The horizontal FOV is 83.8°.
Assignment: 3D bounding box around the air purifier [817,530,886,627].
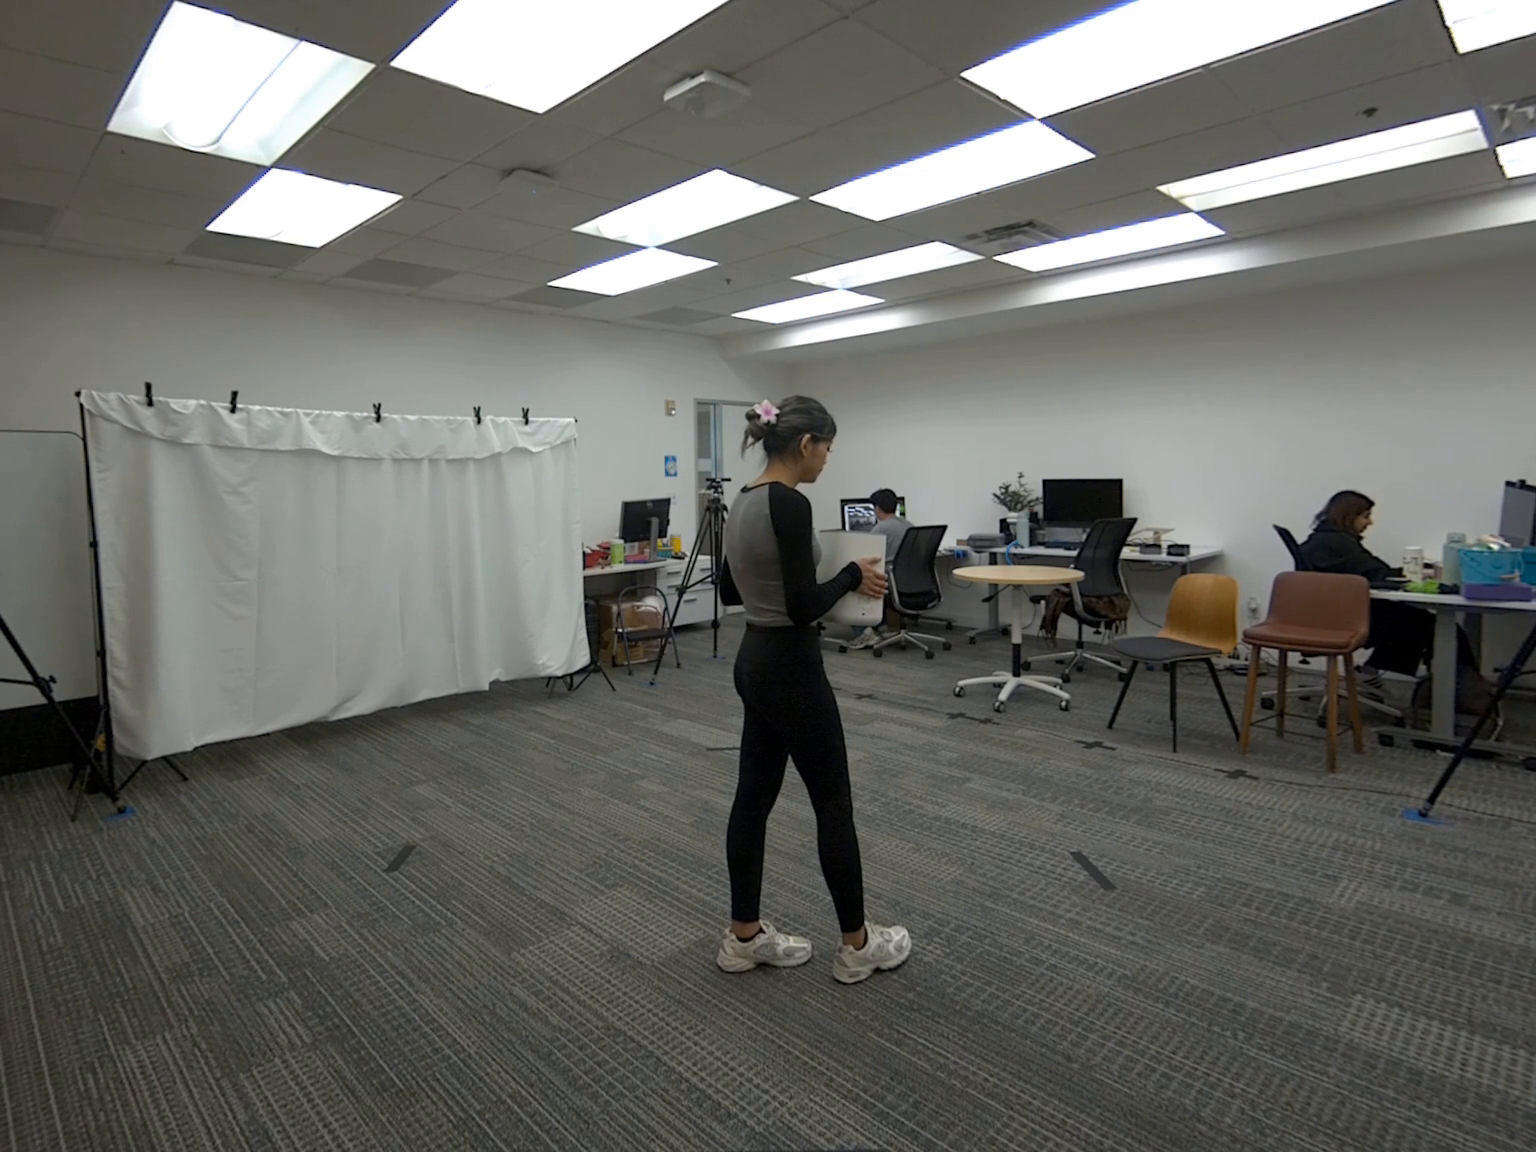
[{"bbox_3d":[0.240,0.006,2.470,0.167,0.266,0.174,3,-3,-22],"label":"air purifier"}]
